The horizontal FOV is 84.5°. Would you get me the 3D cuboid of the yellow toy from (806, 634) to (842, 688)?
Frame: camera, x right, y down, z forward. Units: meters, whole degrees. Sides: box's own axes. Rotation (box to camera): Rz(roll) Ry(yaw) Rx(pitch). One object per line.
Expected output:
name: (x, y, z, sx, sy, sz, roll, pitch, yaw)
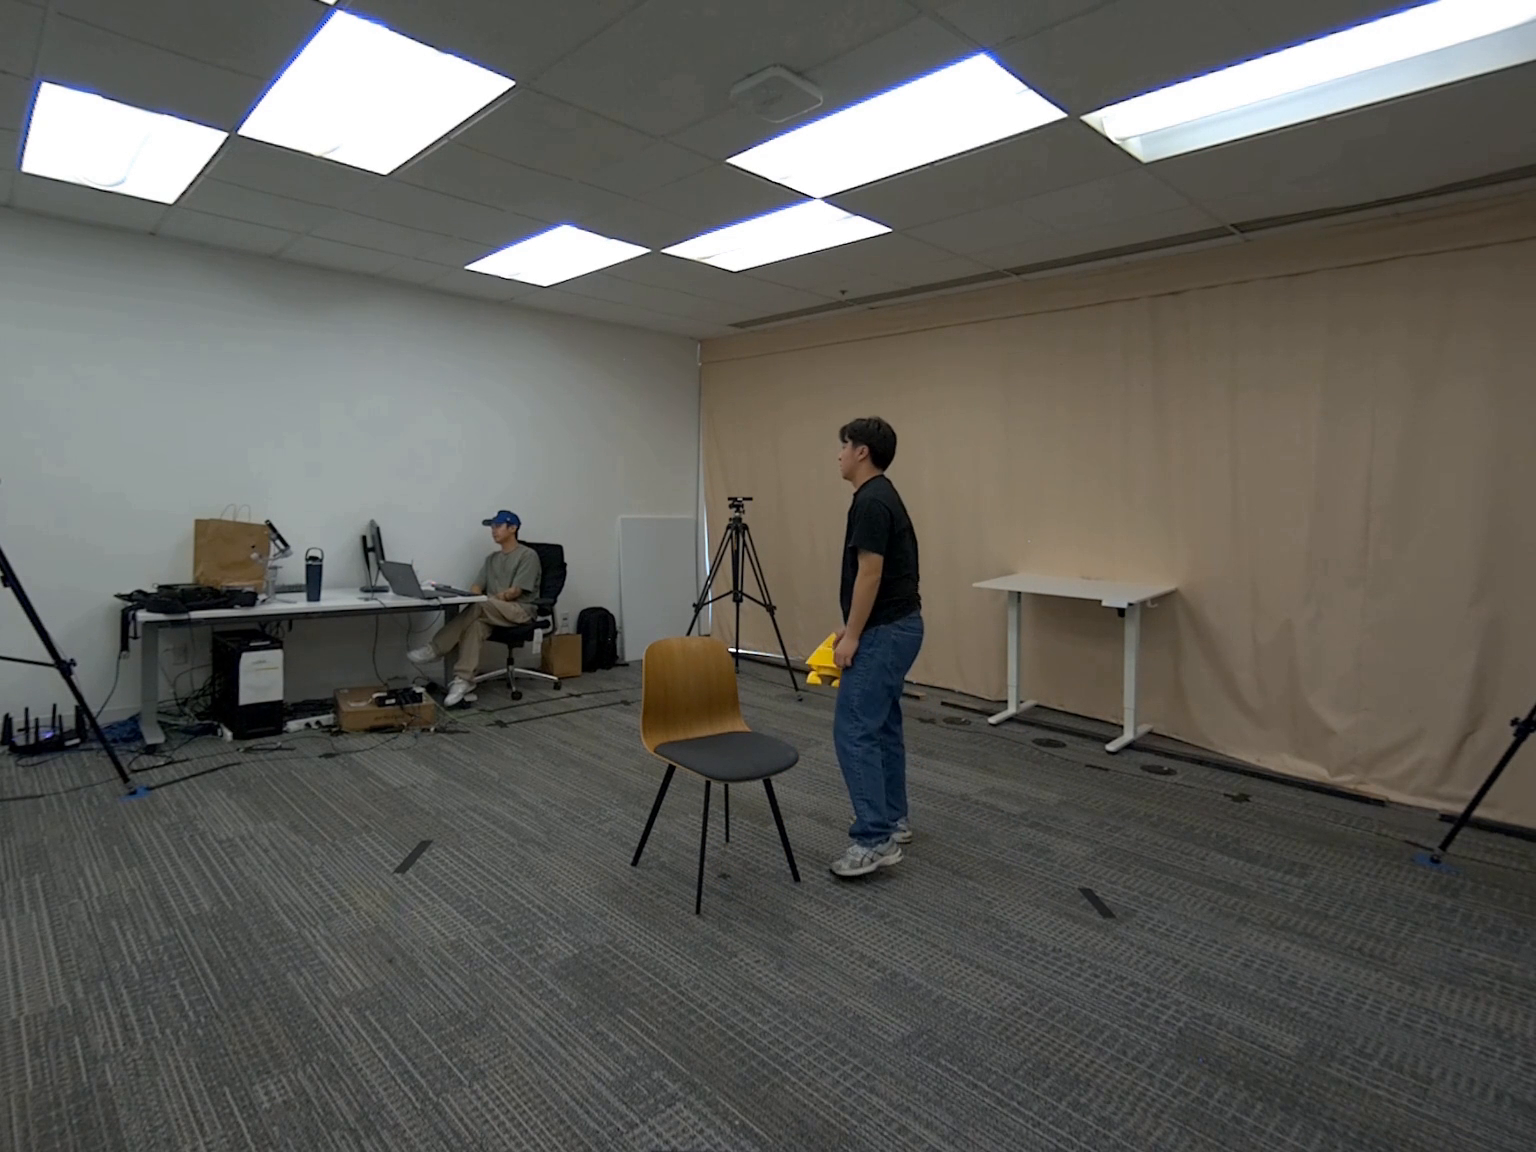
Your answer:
yellow toy: (0.283, 0.383, 3.751, 0.208, 0.232, 0.189, 6, -10, 17)
